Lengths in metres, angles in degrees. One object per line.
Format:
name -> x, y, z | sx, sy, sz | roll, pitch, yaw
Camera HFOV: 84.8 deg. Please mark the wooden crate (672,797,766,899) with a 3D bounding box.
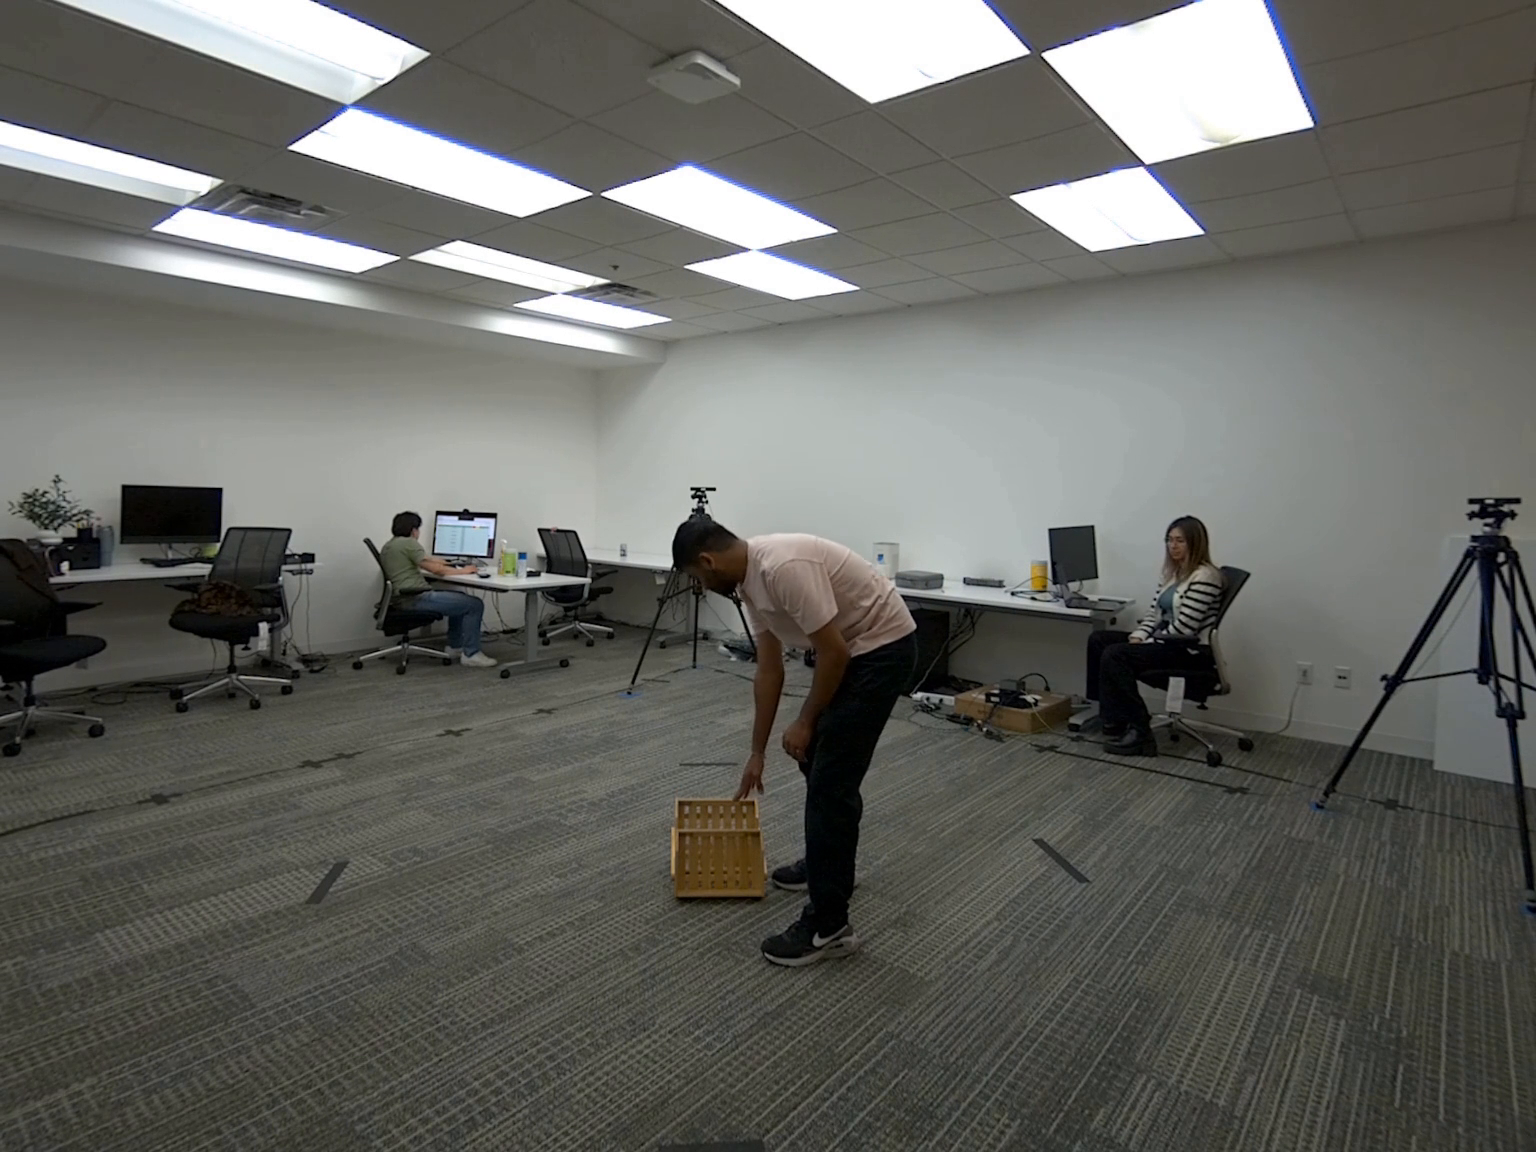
wooden crate -> -0.184, 0.943, 2.997 | 0.323, 0.306, 0.271 | 1, -13, -5
